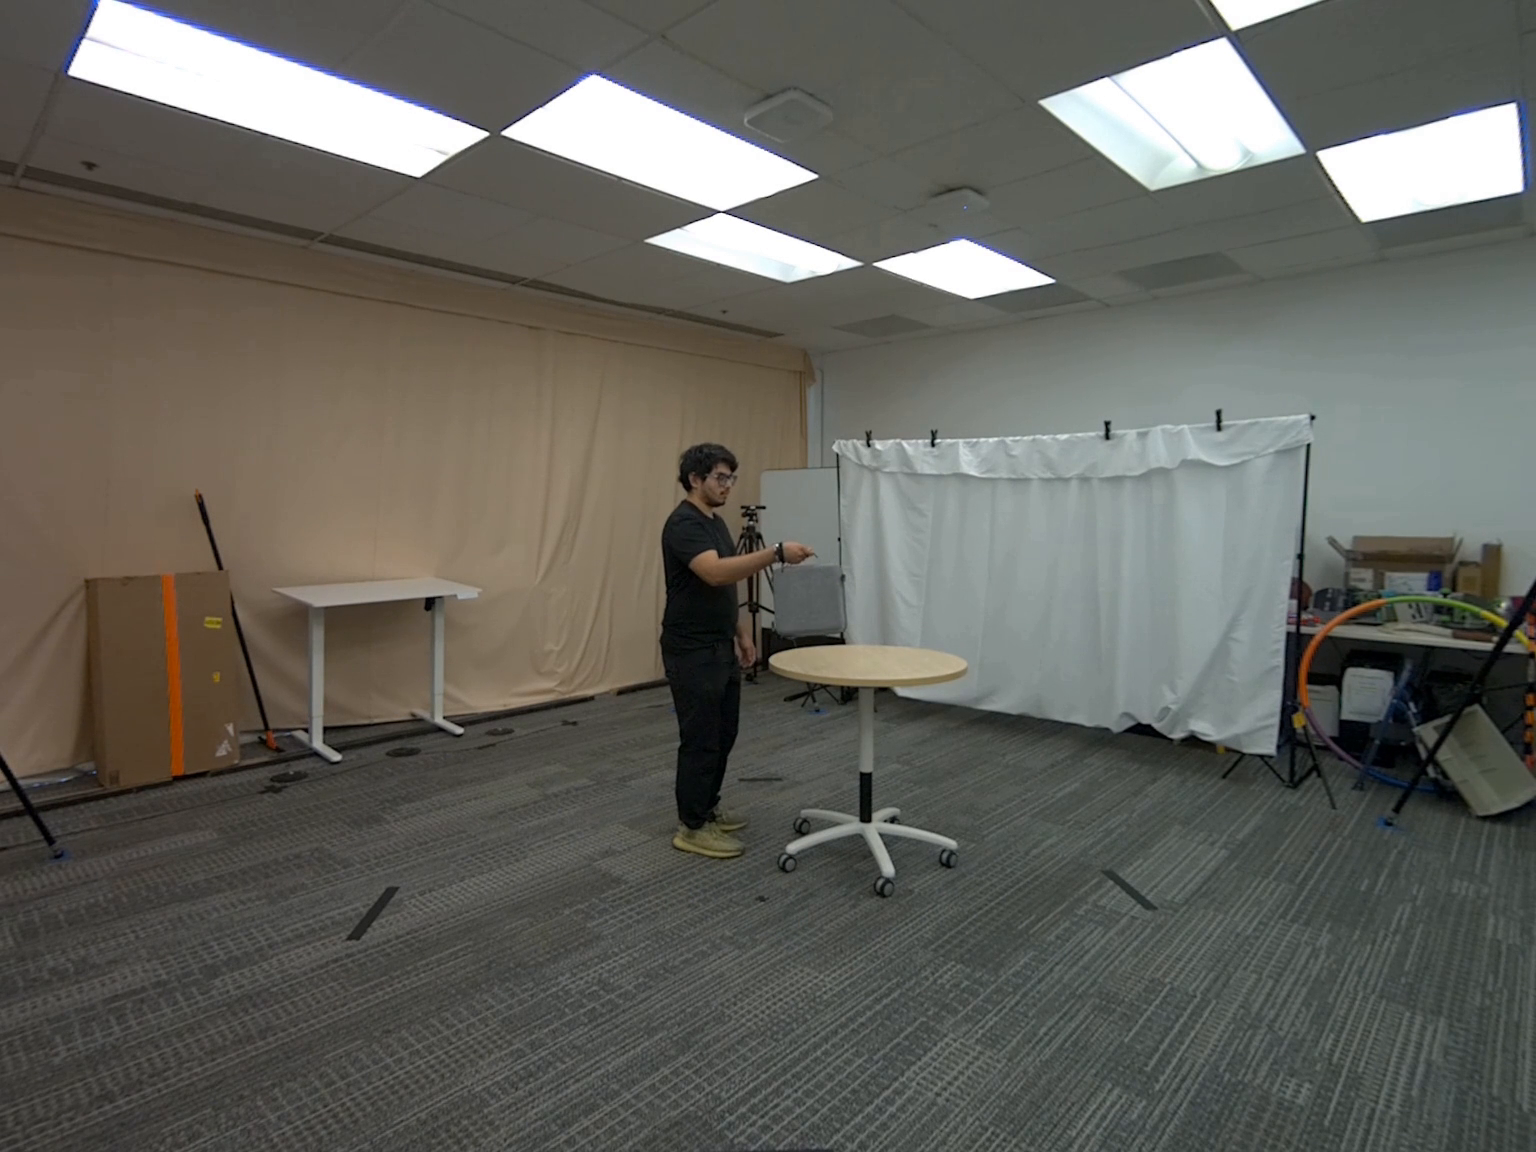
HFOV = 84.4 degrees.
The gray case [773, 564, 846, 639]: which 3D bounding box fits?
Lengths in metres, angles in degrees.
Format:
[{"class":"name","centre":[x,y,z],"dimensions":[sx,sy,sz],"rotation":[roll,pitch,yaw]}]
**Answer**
[{"class":"gray case","centre":[0.154,0.084,3.068],"dimensions":[0.261,0.262,0.102],"rotation":[-8,-6,19]}]
